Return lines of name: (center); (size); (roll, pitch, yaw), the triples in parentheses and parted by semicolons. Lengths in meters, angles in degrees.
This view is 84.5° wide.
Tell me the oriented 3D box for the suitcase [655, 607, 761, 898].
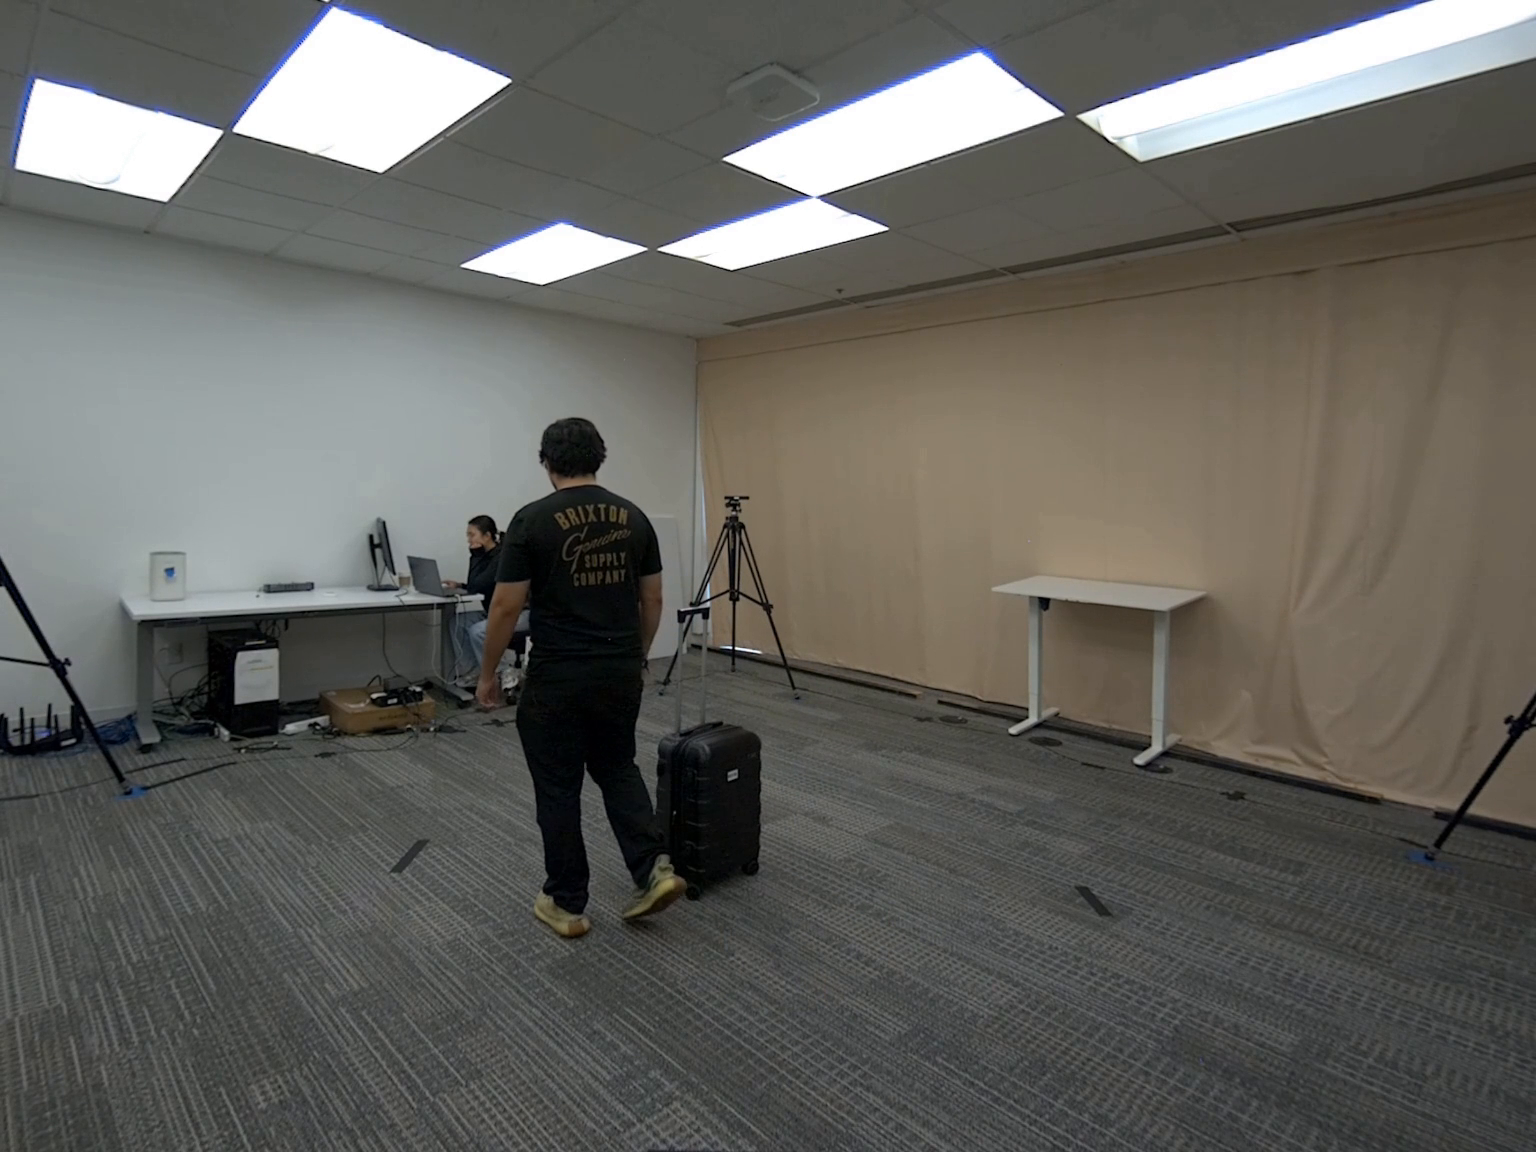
suitcase: (-0.209, 0.627, 3.068); (0.264, 0.975, 0.375); (7, 6, 40)
